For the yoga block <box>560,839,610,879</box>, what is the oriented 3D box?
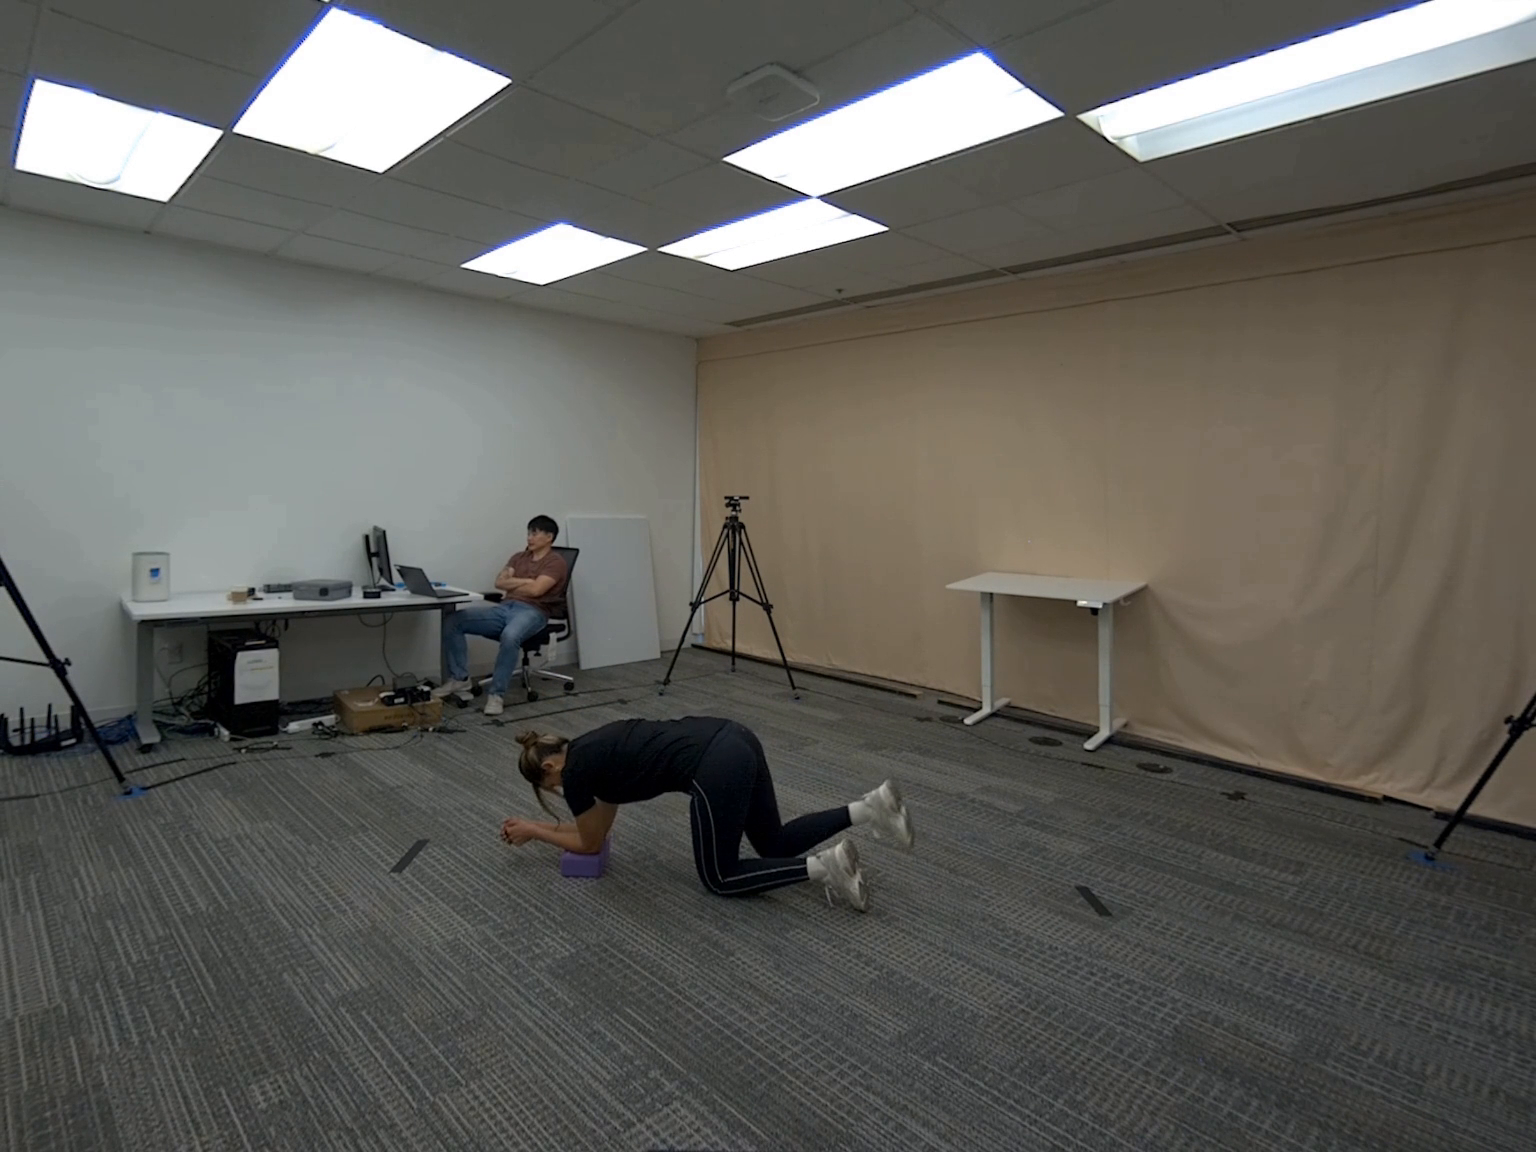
[{"bbox_3d":[-0.684,1.040,3.164,0.149,0.076,0.229,0,4,1],"label":"yoga block"}]
